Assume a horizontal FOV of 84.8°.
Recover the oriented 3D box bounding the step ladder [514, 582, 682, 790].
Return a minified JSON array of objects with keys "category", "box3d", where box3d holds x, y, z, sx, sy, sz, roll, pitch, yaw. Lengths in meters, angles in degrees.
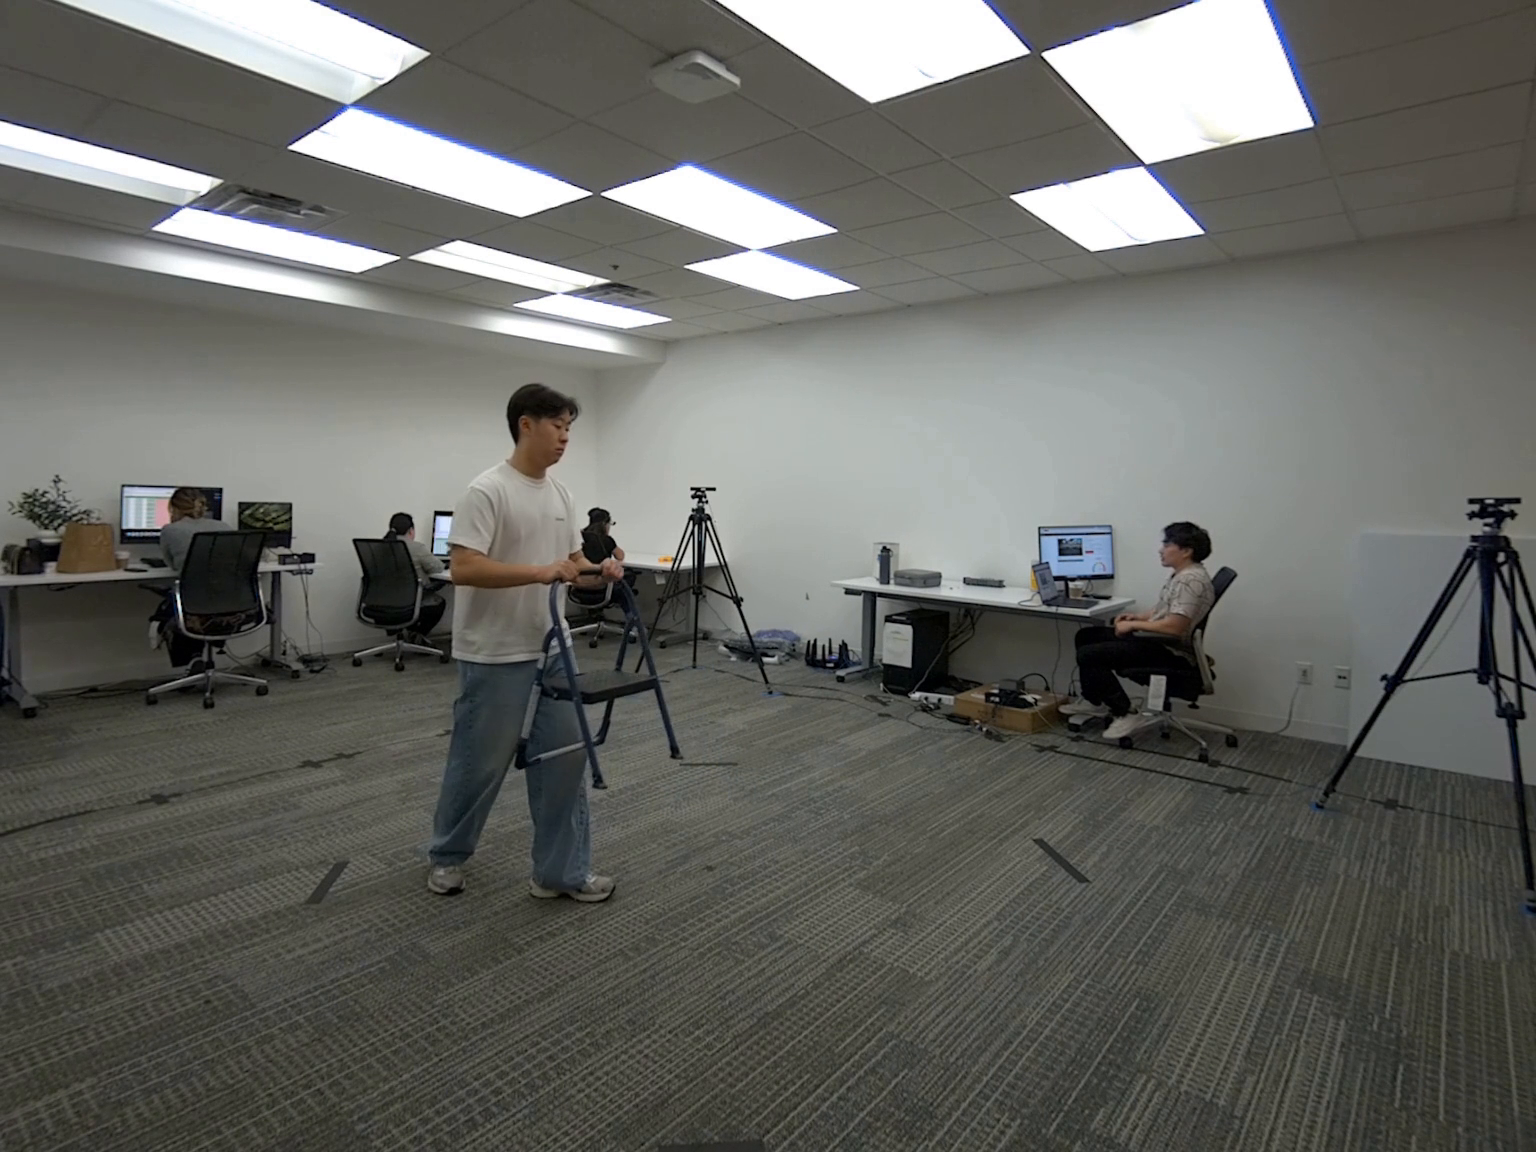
[{"category":"step ladder","box3d":[-0.529,0.285,2.658,0.359,0.606,0.418,2,0,29]}]
